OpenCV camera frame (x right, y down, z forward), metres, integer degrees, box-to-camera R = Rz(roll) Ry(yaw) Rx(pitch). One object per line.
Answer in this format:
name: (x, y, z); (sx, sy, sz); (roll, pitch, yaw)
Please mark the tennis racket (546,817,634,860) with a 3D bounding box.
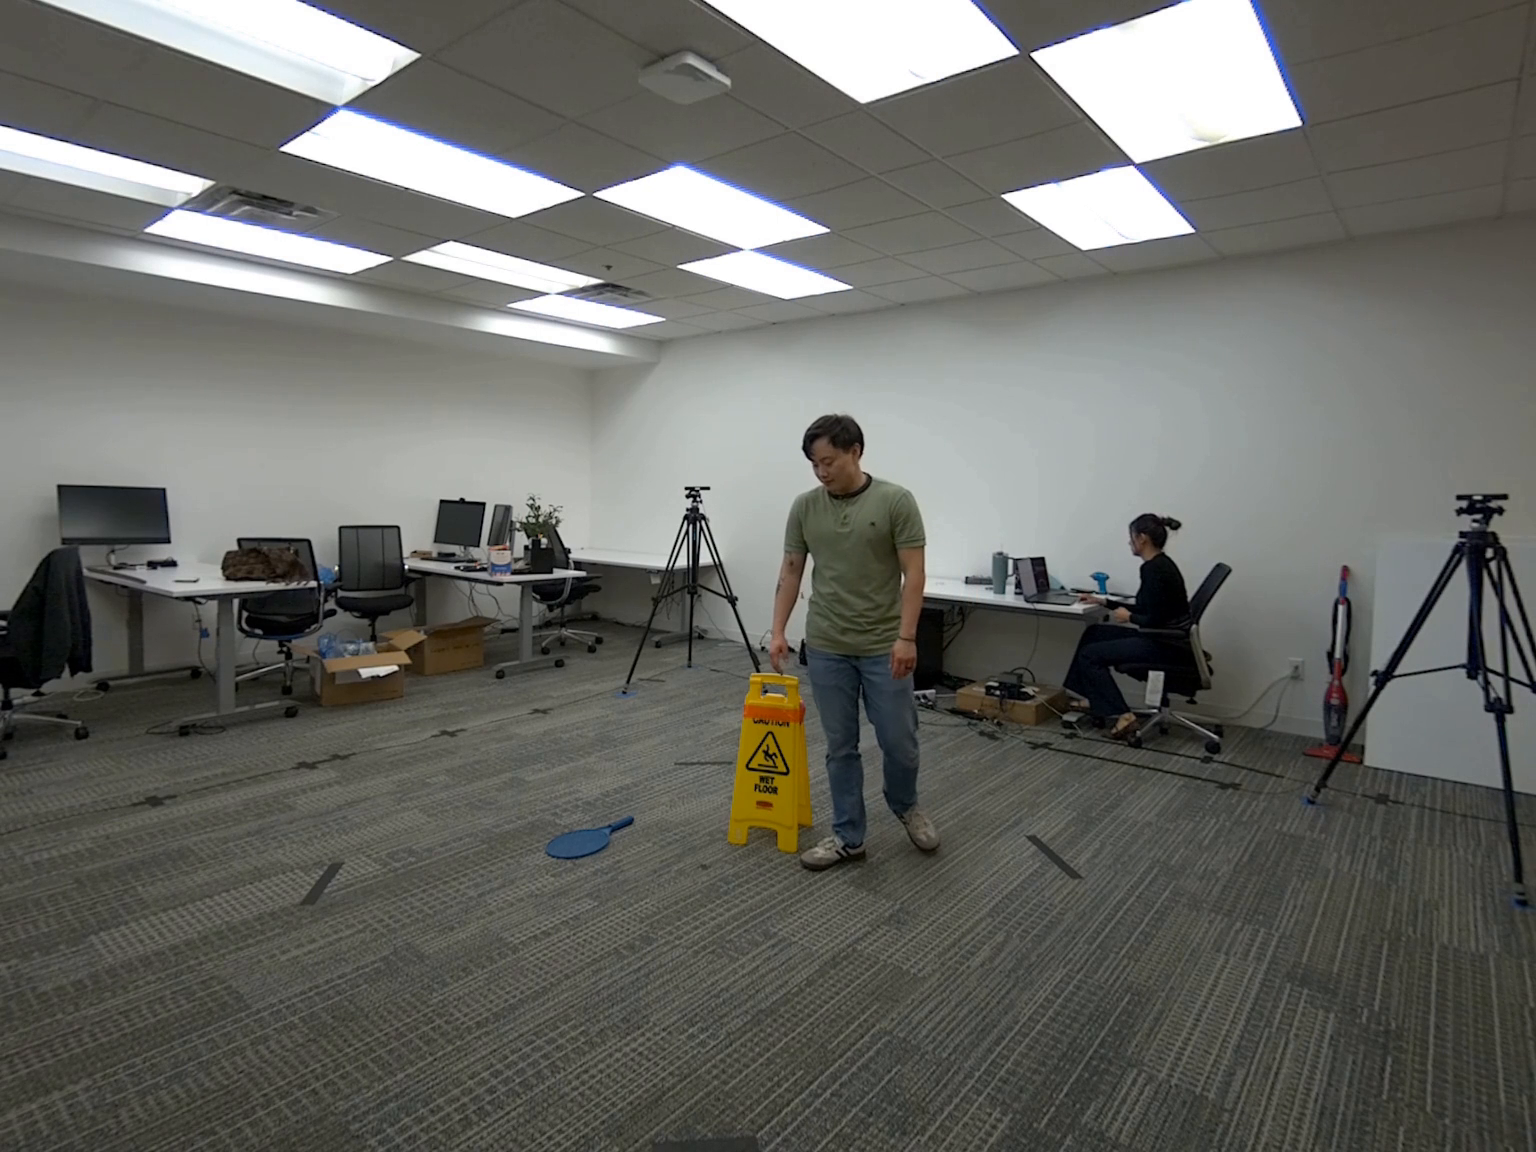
tennis racket: (-0.697, 1.023, 3.355); (0.221, 0.031, 0.421); (4, 8, 37)
